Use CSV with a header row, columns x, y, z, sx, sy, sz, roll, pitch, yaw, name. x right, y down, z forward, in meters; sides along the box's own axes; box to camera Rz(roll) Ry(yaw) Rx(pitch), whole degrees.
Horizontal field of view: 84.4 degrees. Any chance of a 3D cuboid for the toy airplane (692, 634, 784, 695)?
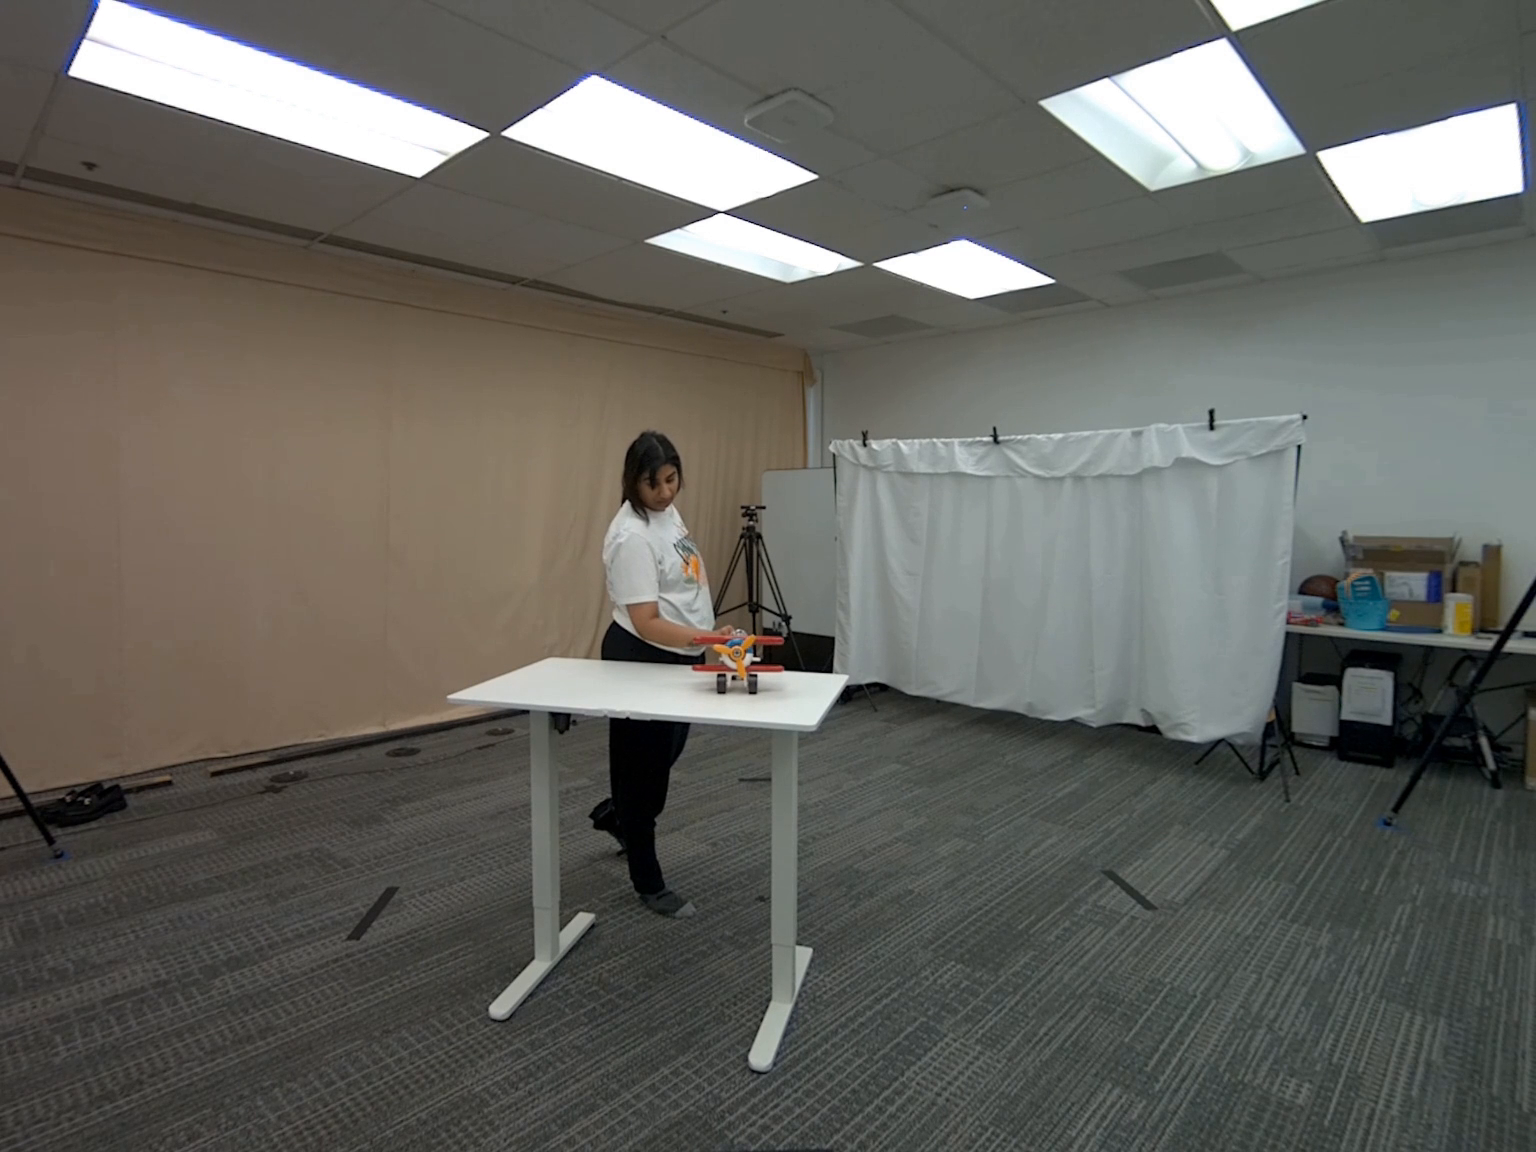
x,y,z,sx,sy,sz,roll,pitch,yaw,name
-0.098,0.239,2.367,0.245,0.156,0.267,-4,8,-27,toy airplane
